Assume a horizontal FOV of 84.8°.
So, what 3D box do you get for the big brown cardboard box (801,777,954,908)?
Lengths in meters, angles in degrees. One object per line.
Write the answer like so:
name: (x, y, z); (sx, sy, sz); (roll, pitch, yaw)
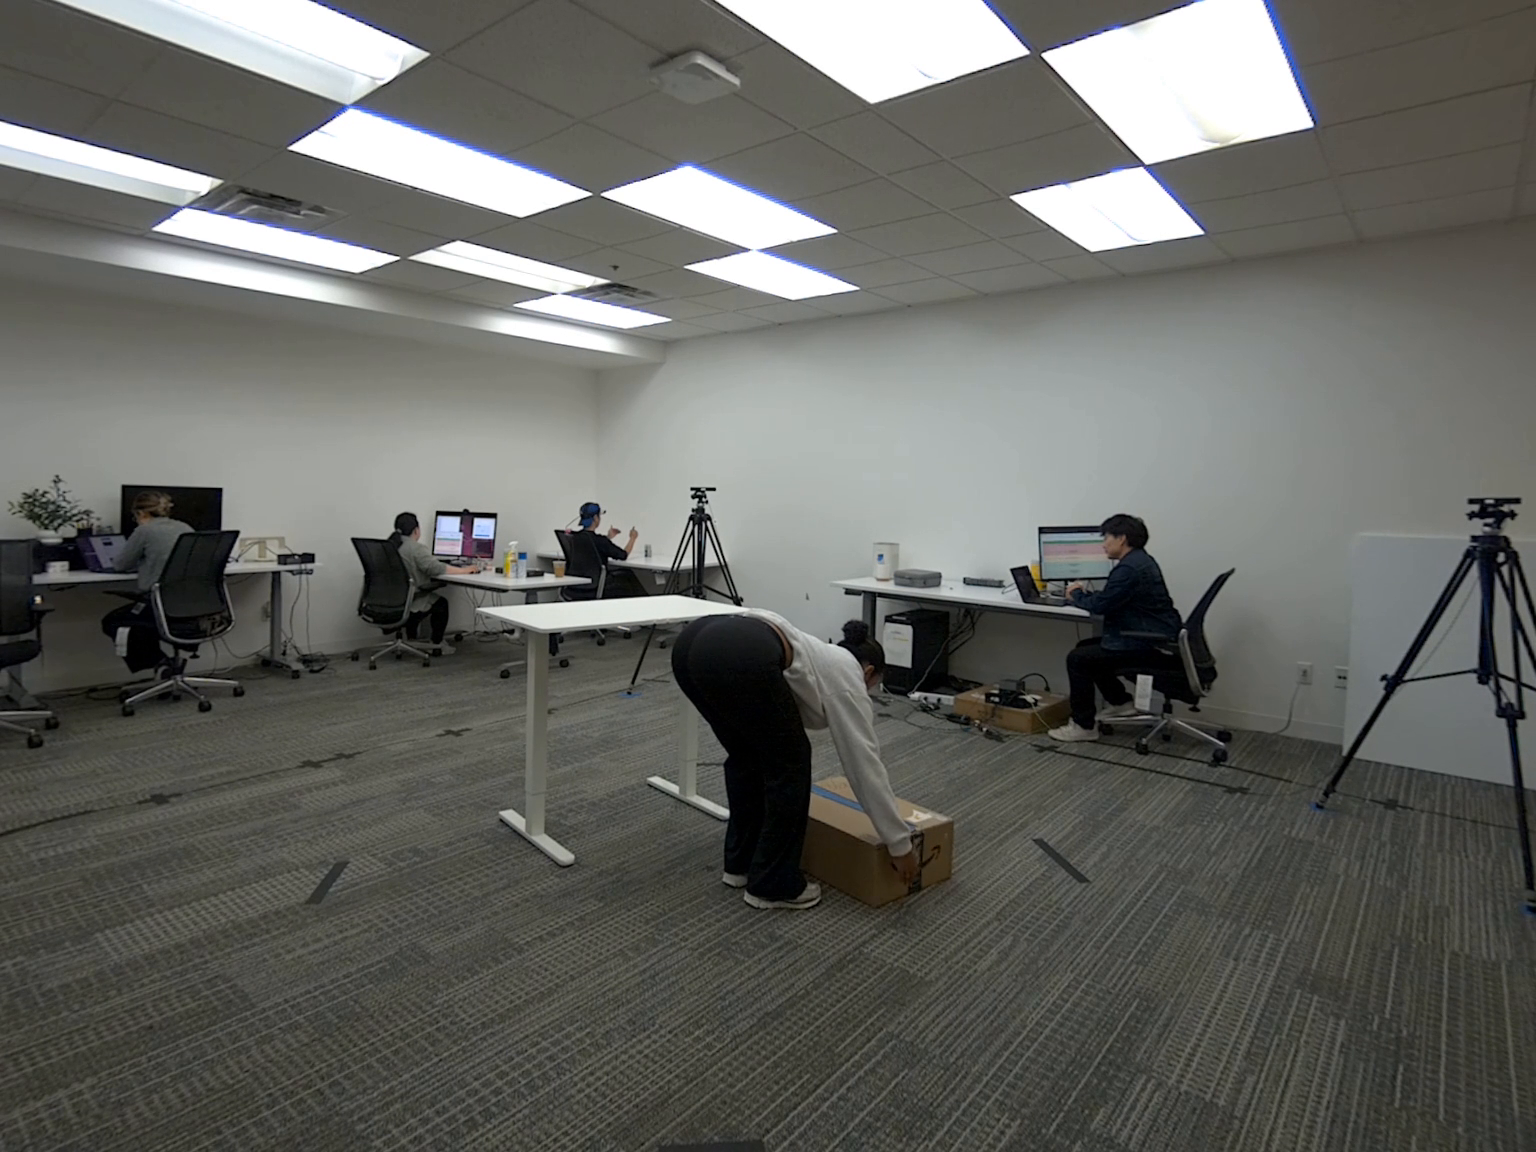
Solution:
big brown cardboard box: (0.321, 0.963, 3.165); (0.405, 0.232, 0.609); (-3, 6, -41)
